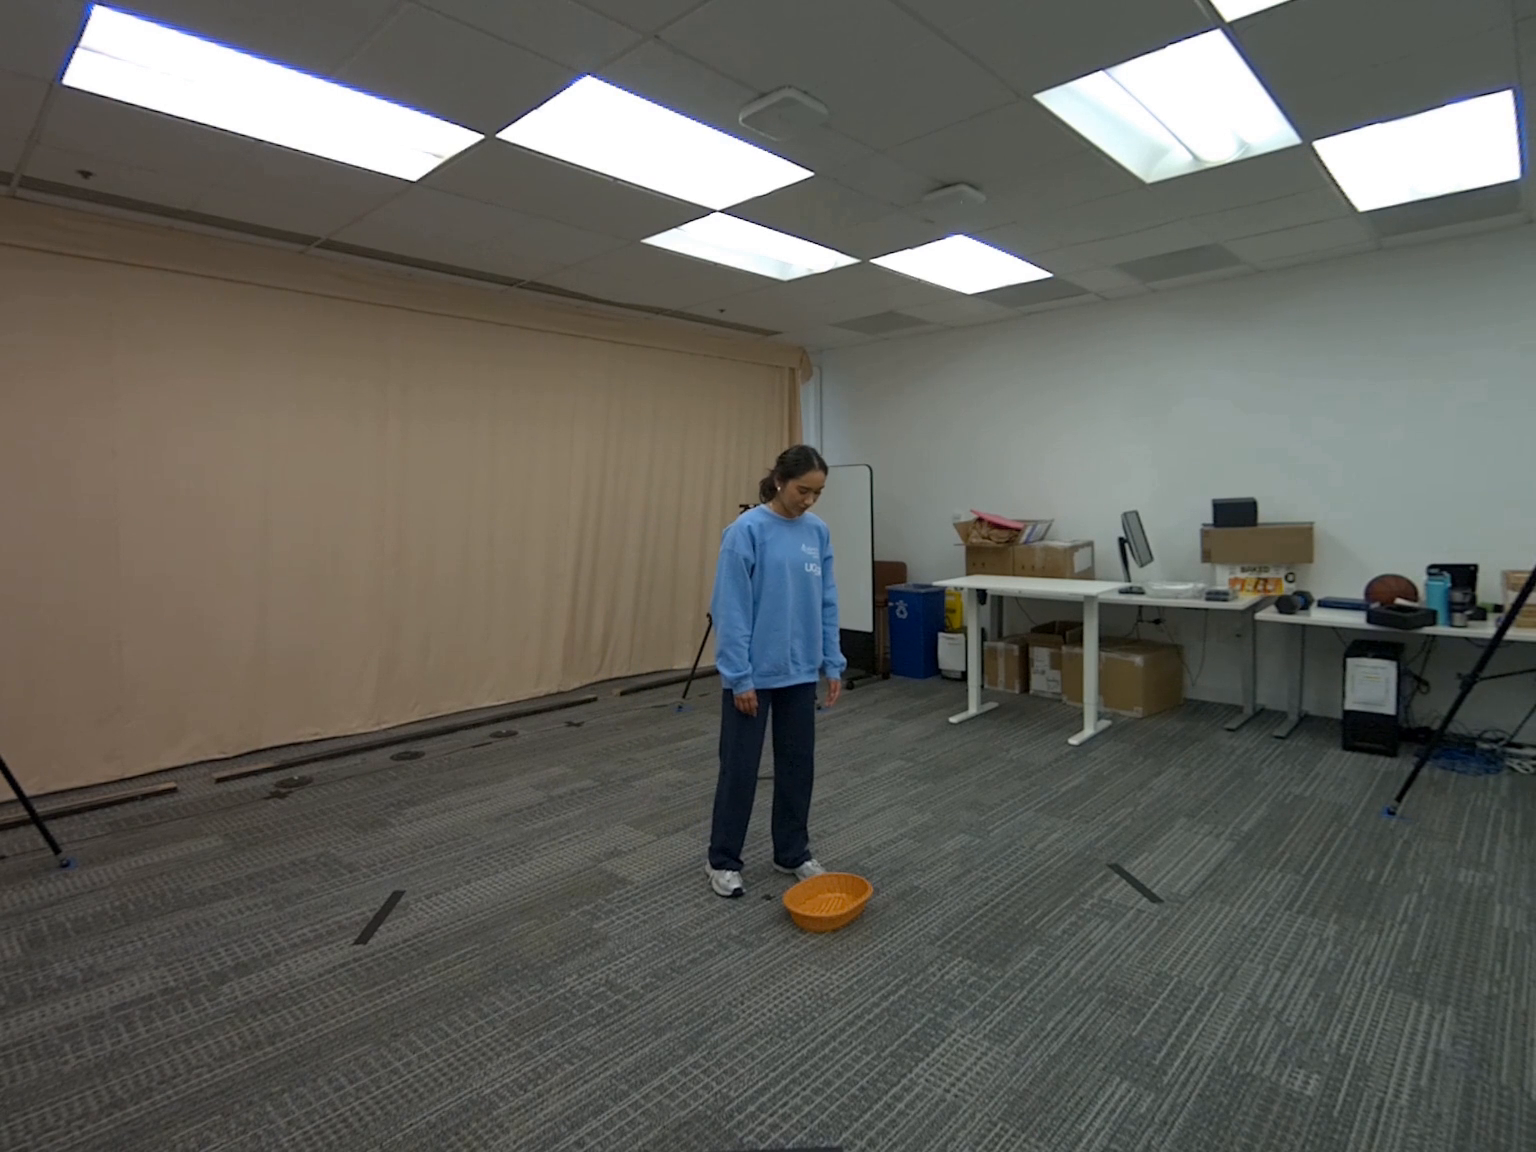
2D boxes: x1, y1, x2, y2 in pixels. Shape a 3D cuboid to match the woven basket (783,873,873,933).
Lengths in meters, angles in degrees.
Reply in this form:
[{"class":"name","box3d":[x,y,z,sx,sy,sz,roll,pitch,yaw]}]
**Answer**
[{"class":"woven basket","box3d":[0.204,1.106,2.861,0.261,0.073,0.340,2,6,42]}]
